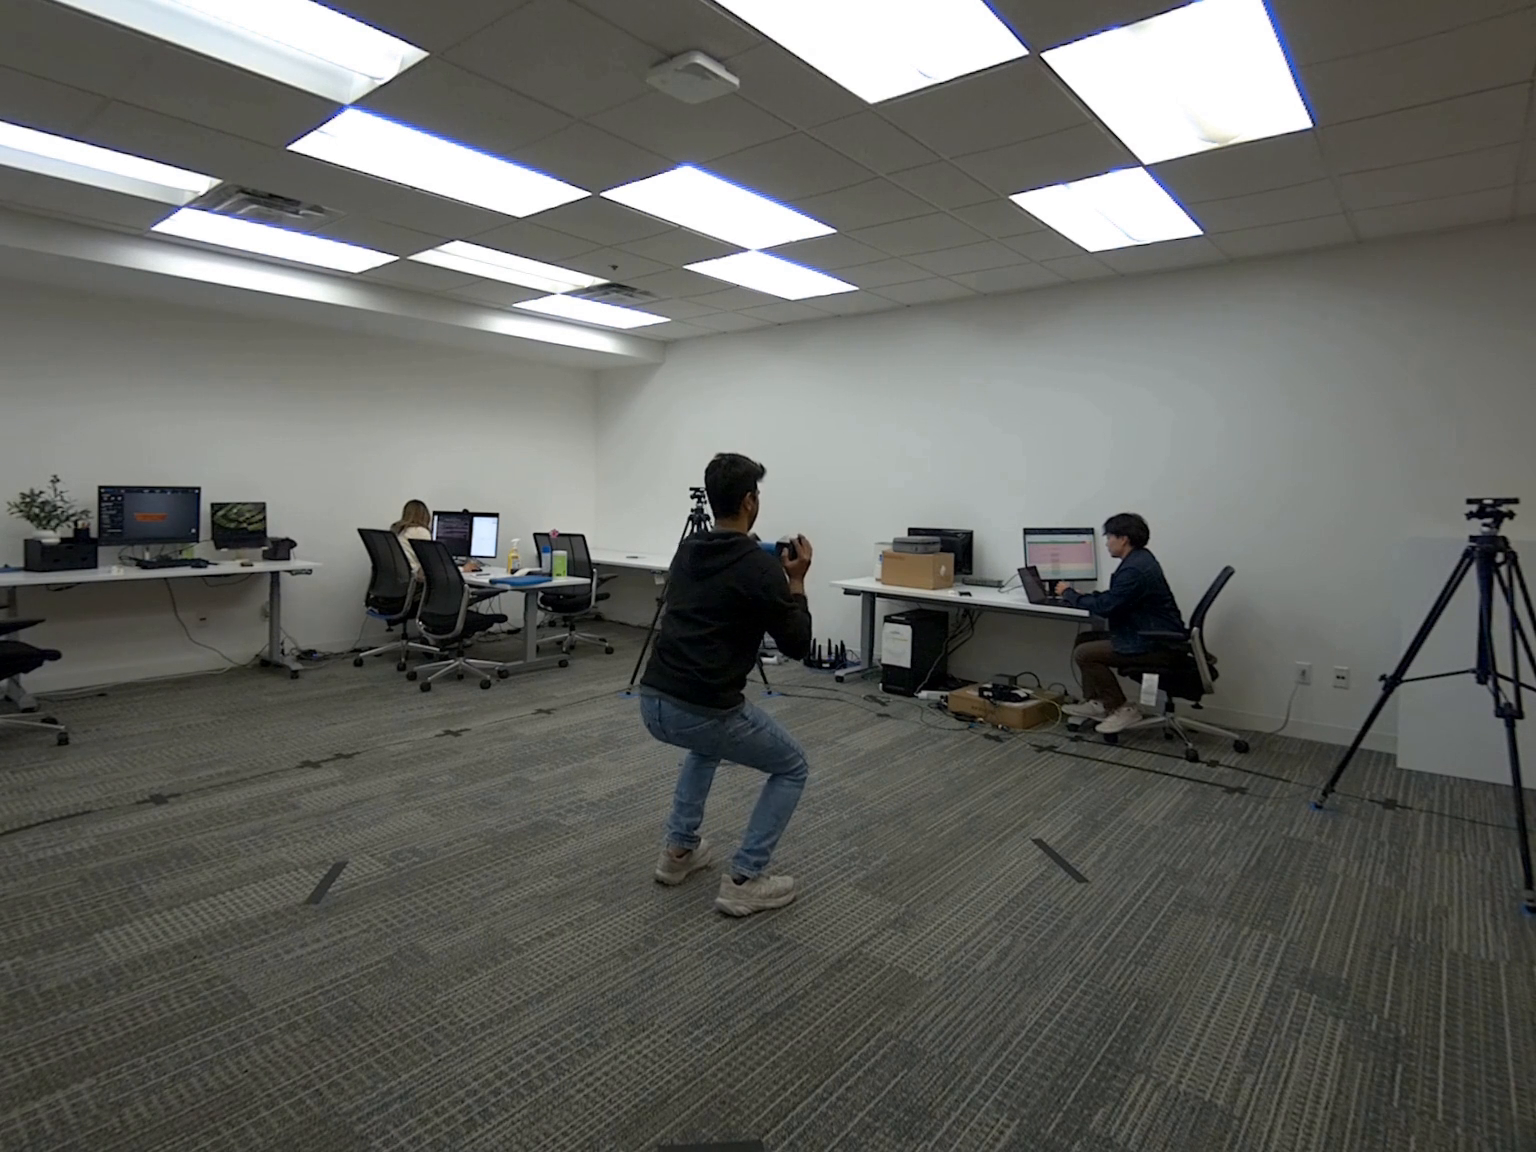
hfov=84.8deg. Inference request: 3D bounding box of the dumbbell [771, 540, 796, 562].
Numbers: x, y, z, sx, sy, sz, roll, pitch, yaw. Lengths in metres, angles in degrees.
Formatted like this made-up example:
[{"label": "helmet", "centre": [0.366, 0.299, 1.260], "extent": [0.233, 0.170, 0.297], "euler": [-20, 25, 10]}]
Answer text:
[{"label": "dumbbell", "centre": [-0.009, -0.094, 3.102], "extent": [0.303, 0.123, 0.105], "euler": [5, -2, 40]}]
